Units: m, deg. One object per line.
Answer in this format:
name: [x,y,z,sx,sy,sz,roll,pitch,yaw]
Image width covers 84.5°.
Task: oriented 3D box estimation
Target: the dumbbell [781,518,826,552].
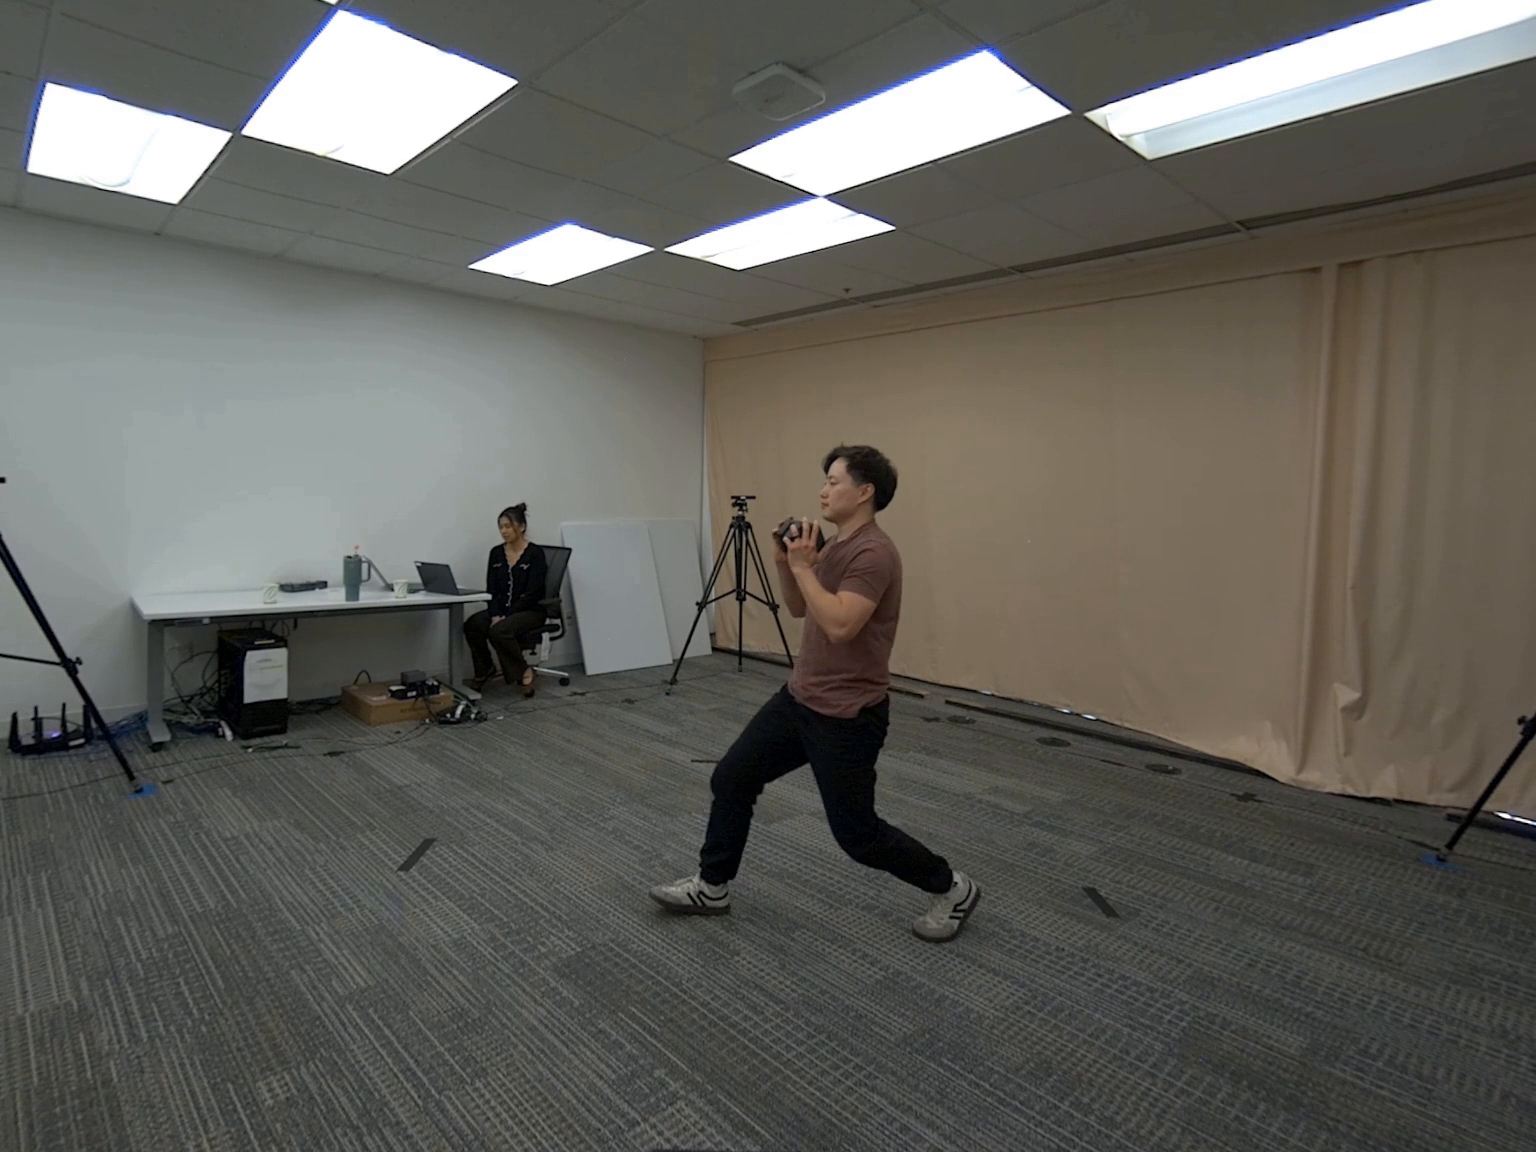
dumbbell: [0.144,-0.109,2.692,0.123,0.109,0.292,10,1,4]
